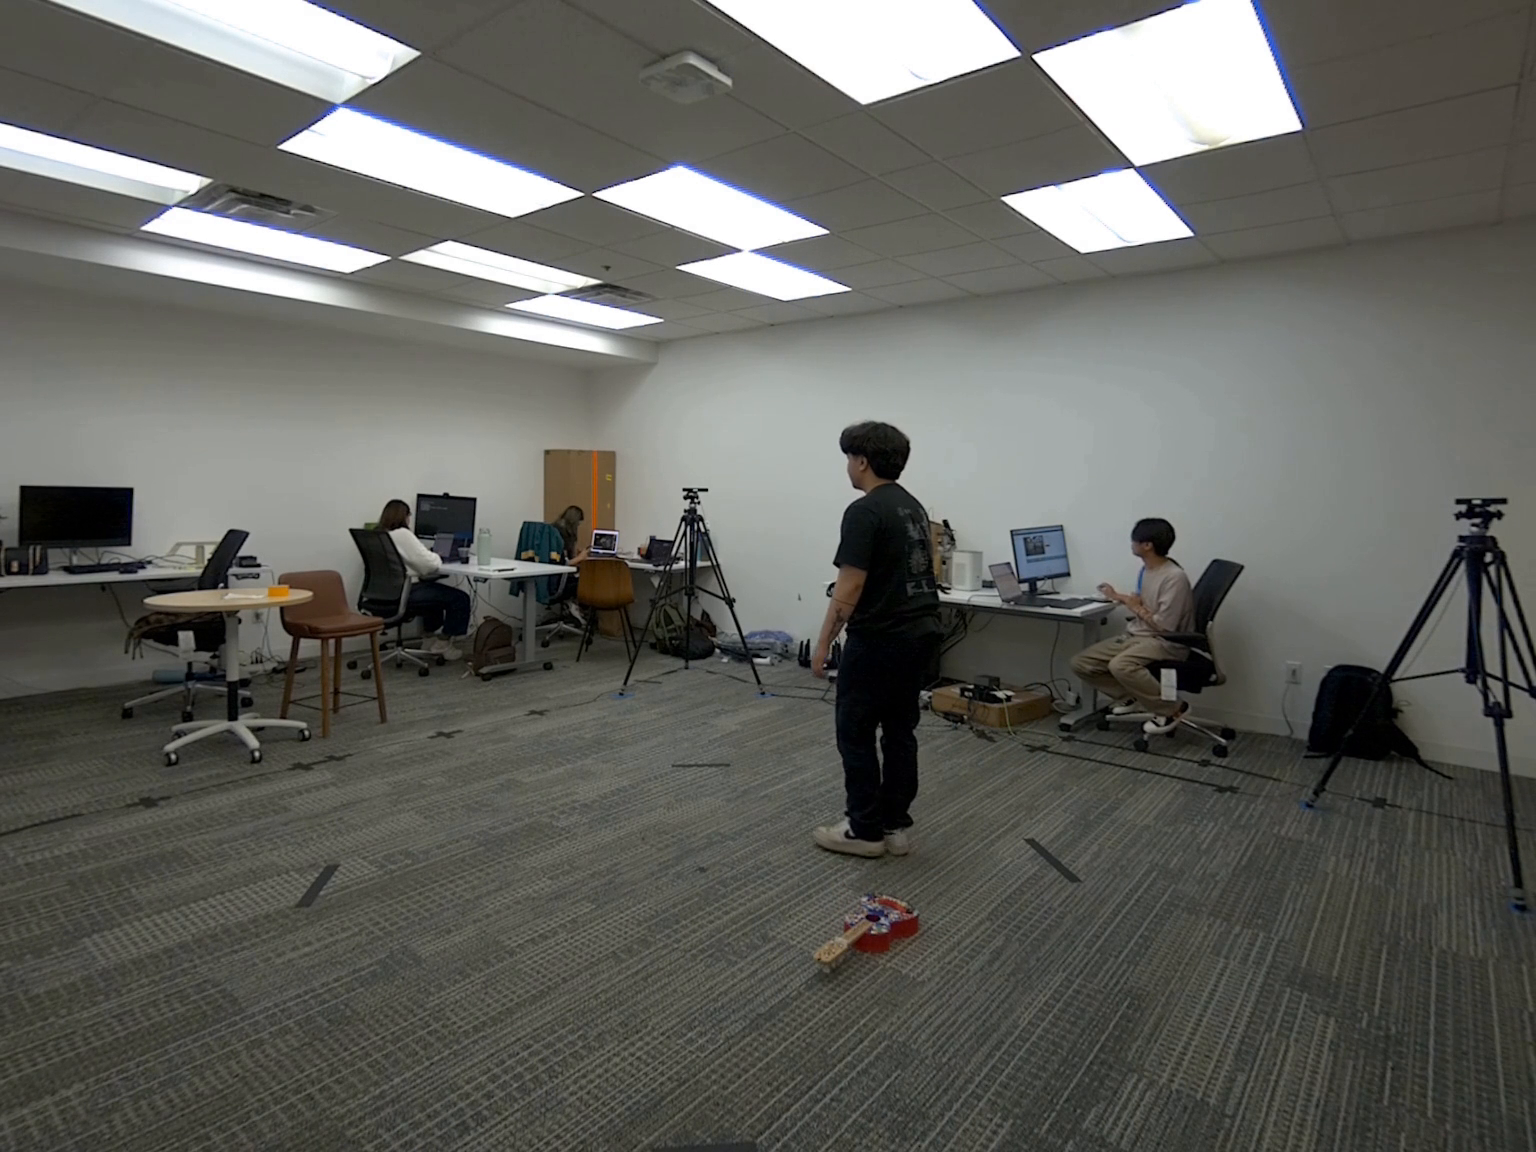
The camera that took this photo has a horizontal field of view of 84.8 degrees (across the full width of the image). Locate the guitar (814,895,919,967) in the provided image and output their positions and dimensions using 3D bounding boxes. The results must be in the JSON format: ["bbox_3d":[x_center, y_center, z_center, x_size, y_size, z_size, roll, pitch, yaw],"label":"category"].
[{"bbox_3d":[0.264,1.092,2.630,0.482,0.070,0.200,-3,7,-45],"label":"guitar"}]
